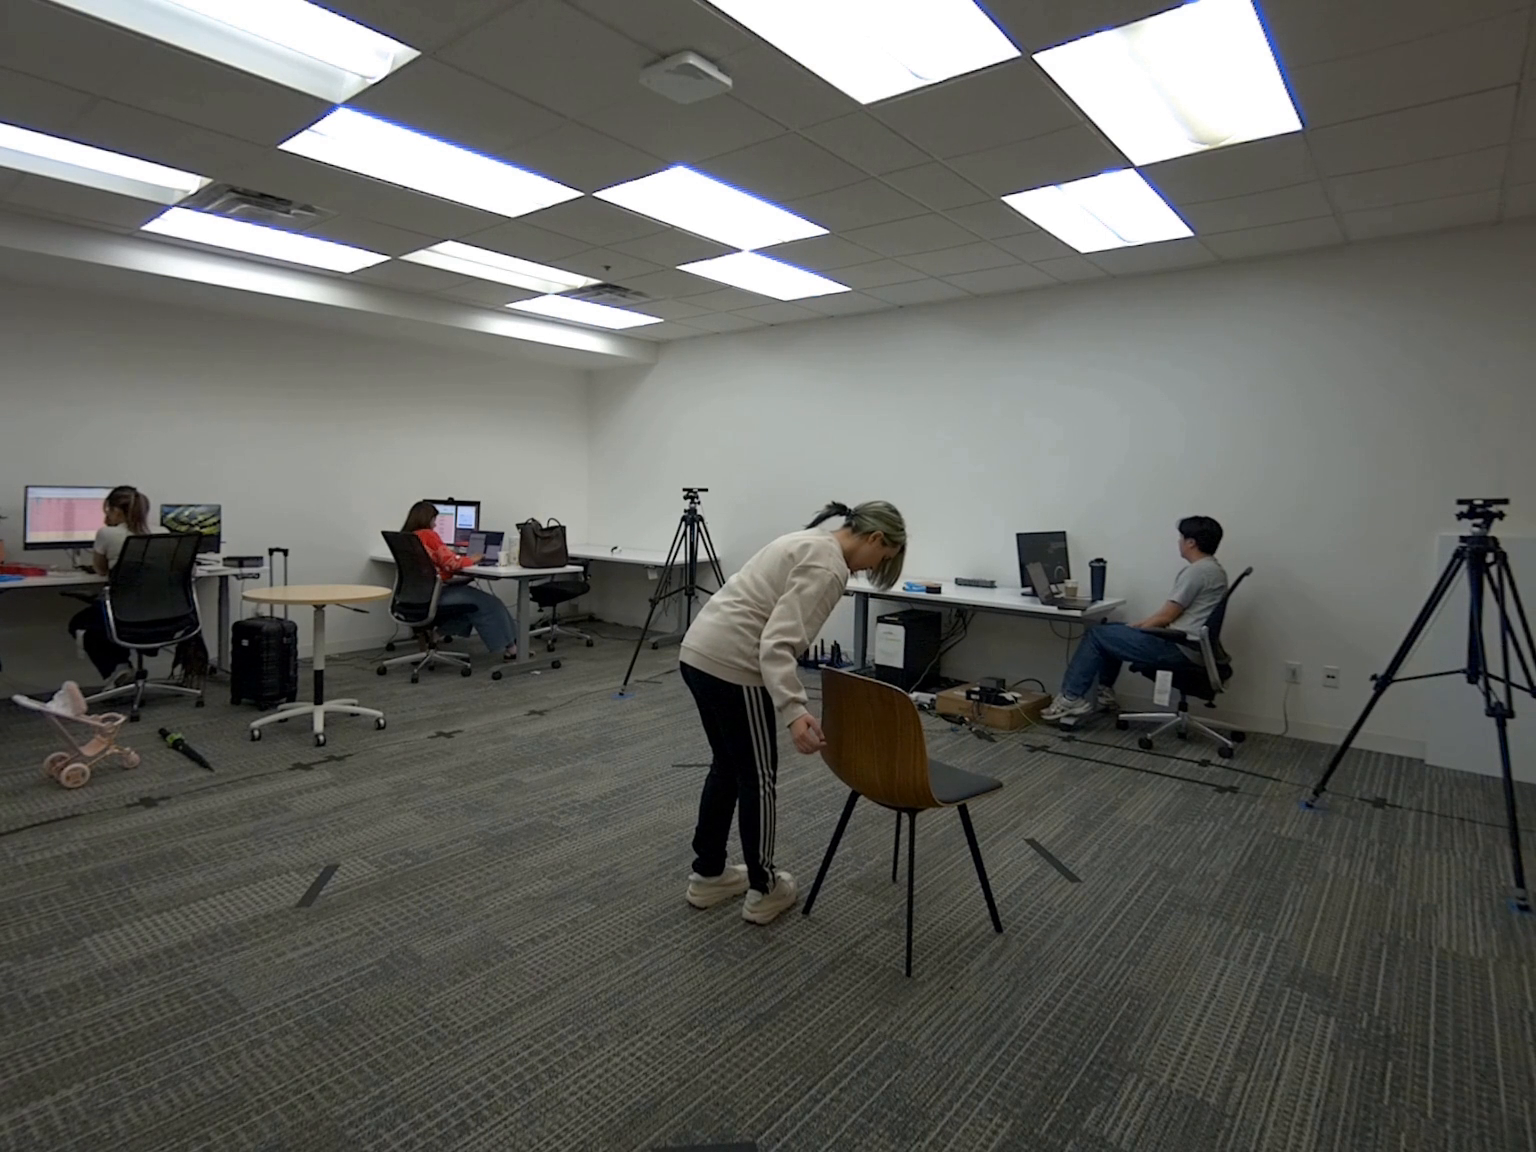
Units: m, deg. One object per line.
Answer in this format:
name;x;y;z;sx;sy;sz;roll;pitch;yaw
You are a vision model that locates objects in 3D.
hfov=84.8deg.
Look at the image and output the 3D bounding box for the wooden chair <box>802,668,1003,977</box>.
wooden chair;0.441;0.695;2.728;0.508;0.873;0.494;-6;7;-40
